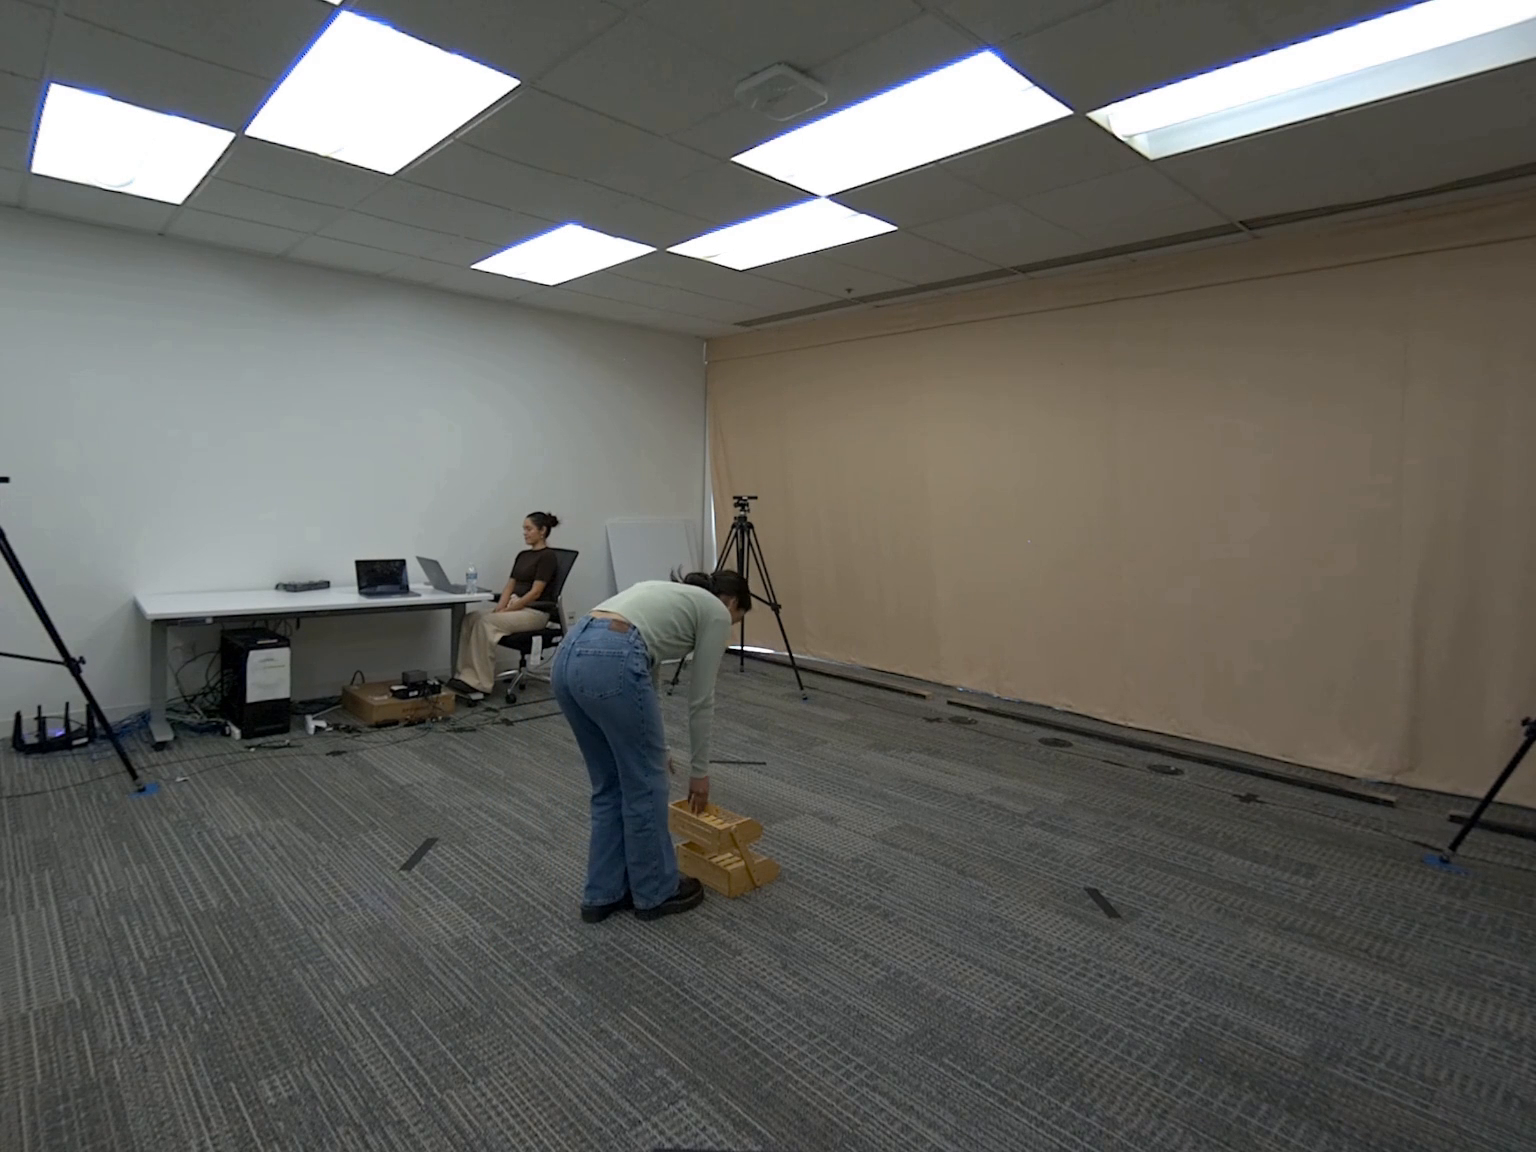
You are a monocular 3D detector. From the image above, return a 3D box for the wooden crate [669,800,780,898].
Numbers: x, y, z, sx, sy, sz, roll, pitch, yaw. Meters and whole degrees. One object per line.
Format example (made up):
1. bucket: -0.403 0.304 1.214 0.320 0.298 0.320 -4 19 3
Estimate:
1. wooden crate: -0.172 0.968 3.088 0.295 0.272 0.333 -4 7 -44
